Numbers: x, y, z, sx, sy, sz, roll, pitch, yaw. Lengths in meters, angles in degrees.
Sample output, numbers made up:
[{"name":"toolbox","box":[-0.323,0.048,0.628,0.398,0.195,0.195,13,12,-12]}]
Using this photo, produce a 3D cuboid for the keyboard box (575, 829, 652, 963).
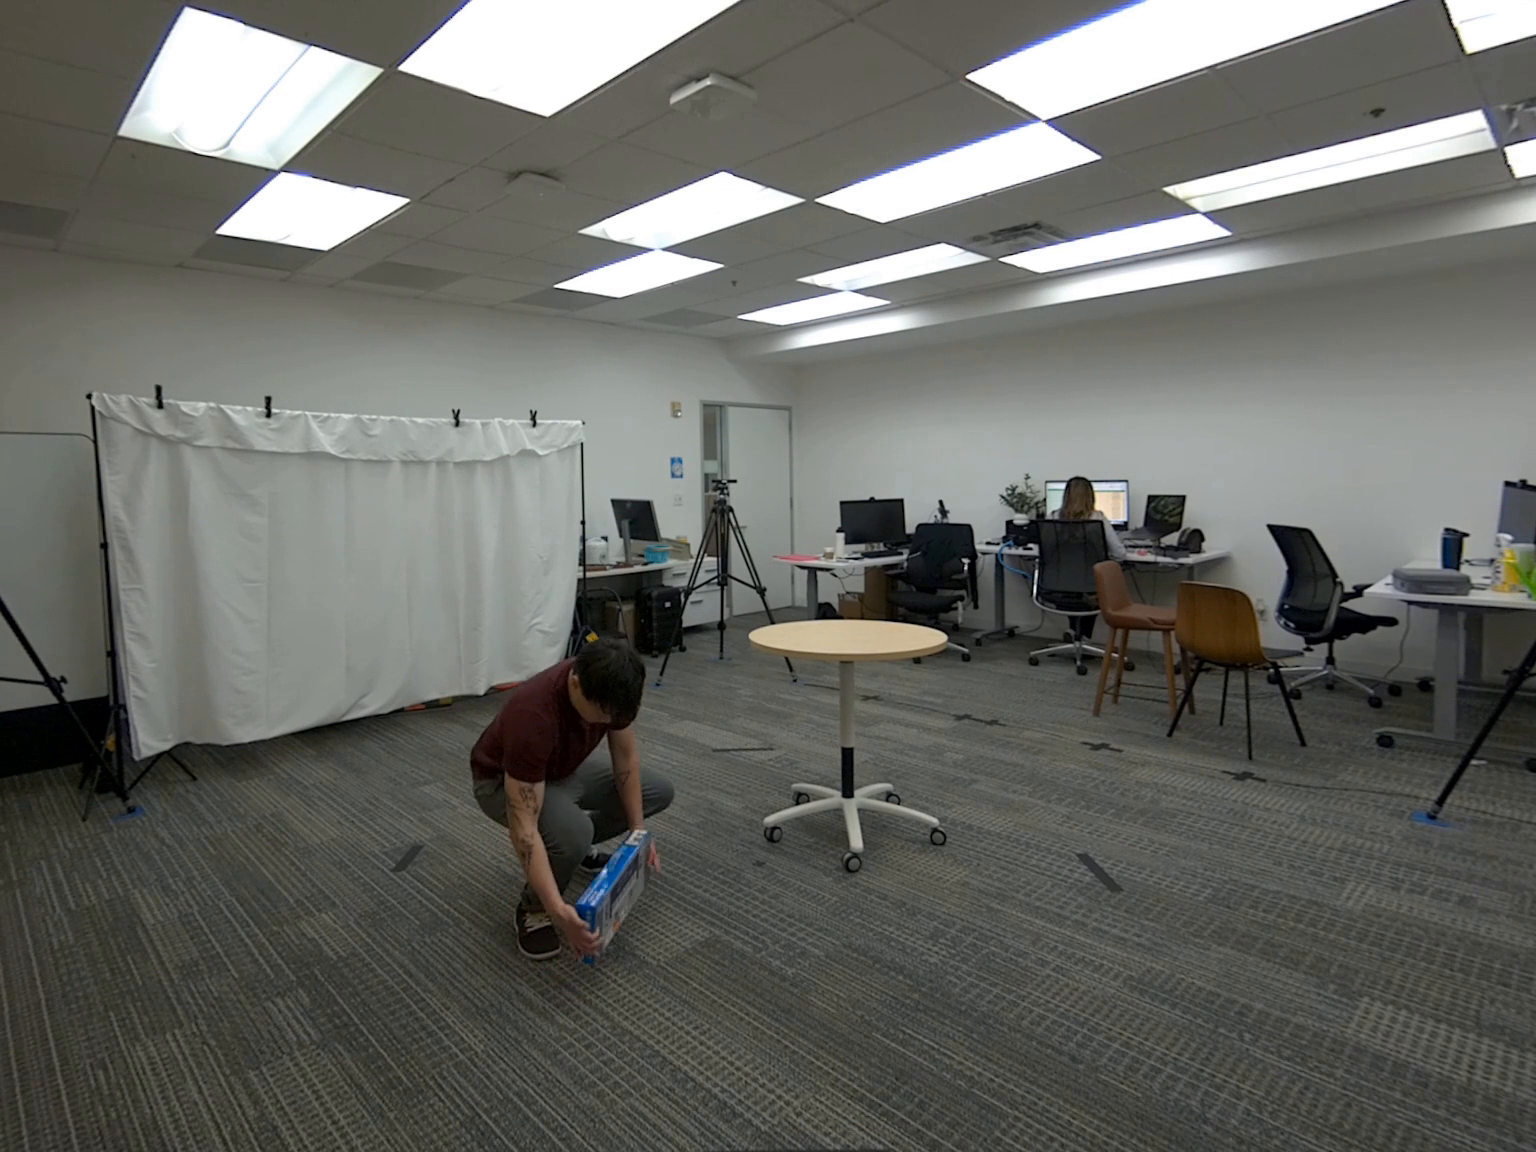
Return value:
[{"name":"keyboard box","box":[-0.453,0.913,2.500,0.060,0.174,0.435,3,11,11]}]
